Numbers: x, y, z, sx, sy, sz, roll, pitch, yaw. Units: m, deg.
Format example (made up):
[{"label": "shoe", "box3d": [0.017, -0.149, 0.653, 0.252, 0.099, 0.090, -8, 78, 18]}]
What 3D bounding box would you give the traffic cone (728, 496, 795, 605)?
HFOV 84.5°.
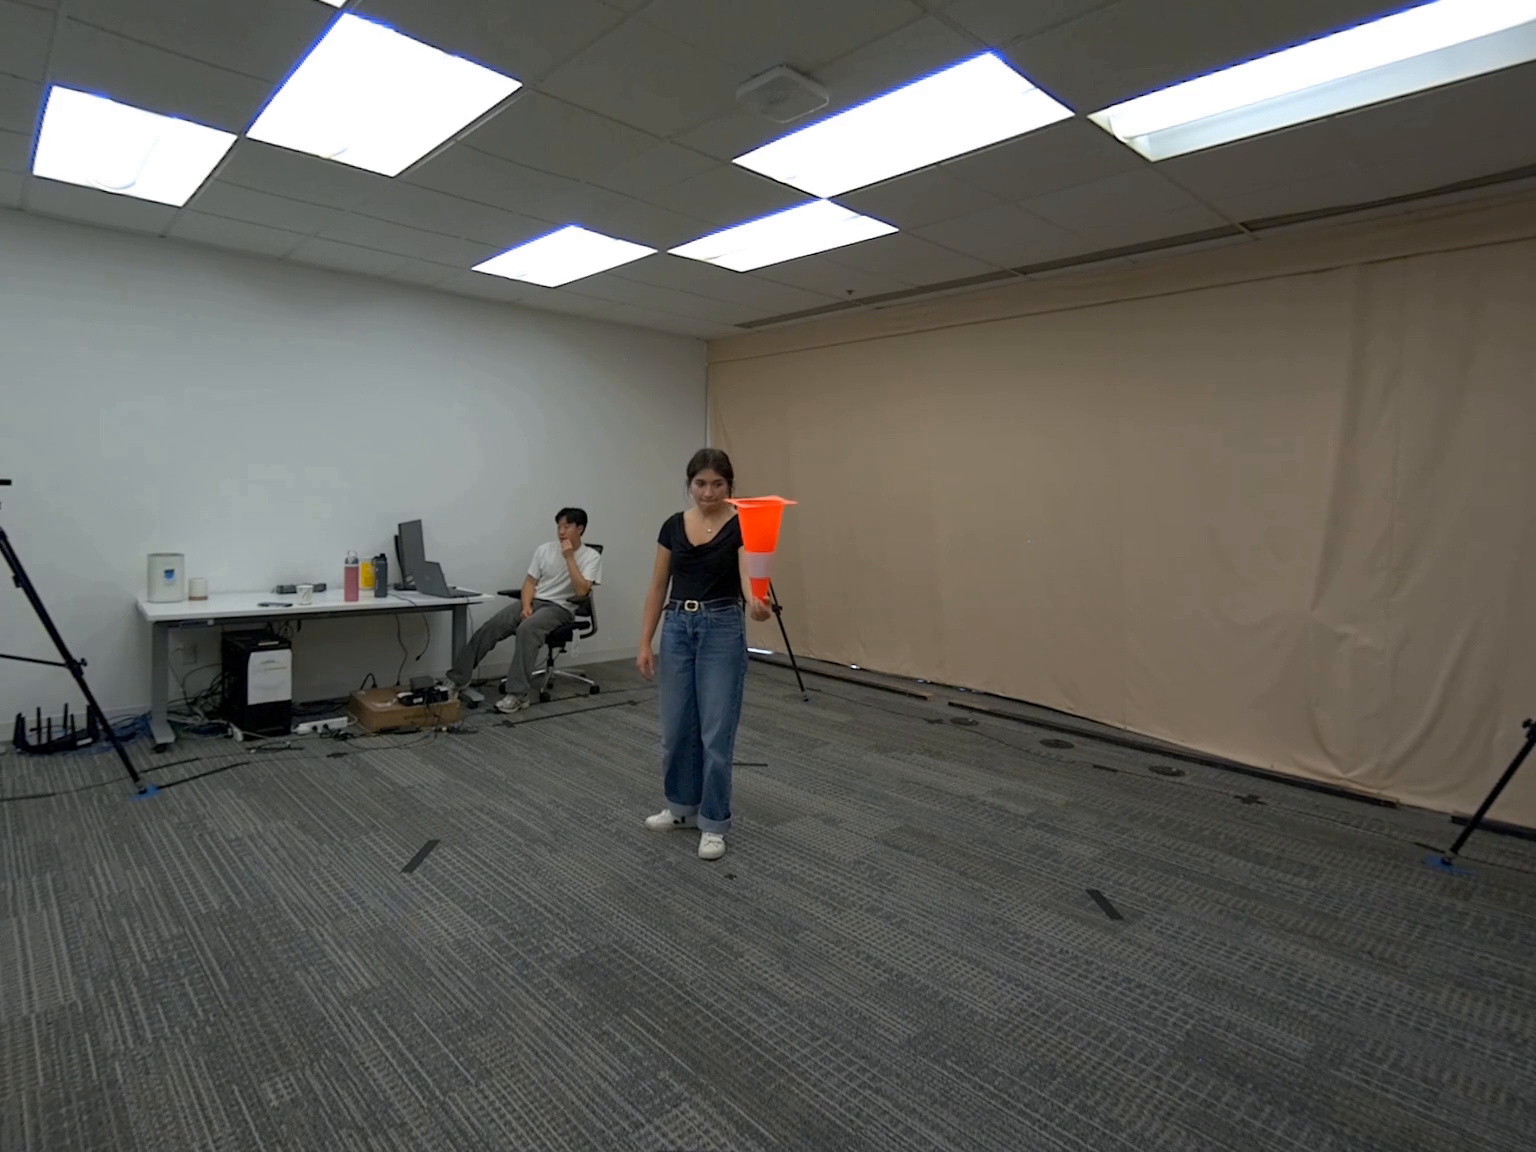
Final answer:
[{"label": "traffic cone", "box3d": [-0.038, -0.057, 2.839, 0.202, 0.381, 0.208, -3, 11, -21]}]
